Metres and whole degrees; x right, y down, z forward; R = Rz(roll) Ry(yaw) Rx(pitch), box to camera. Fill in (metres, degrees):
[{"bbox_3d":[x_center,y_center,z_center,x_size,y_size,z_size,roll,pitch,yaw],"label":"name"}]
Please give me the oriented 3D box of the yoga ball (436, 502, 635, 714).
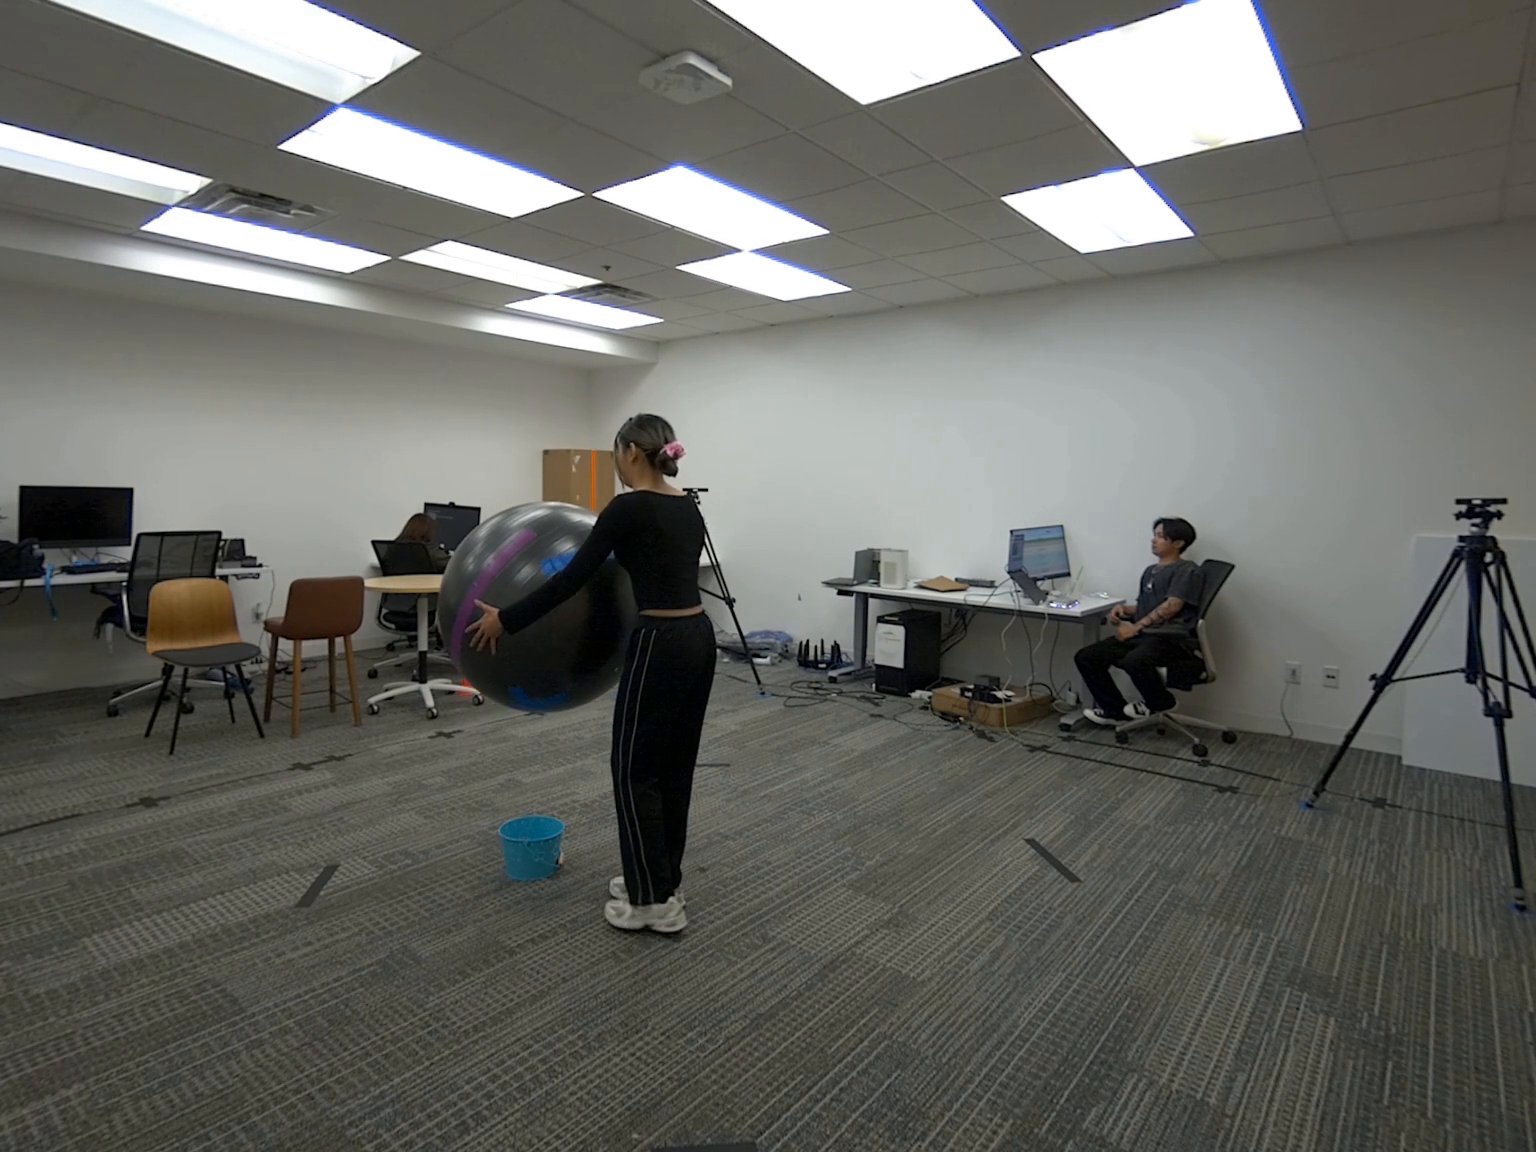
[{"bbox_3d":[-0.820,0.114,3.075,0.757,0.755,0.762,1,4,-2],"label":"yoga ball"}]
